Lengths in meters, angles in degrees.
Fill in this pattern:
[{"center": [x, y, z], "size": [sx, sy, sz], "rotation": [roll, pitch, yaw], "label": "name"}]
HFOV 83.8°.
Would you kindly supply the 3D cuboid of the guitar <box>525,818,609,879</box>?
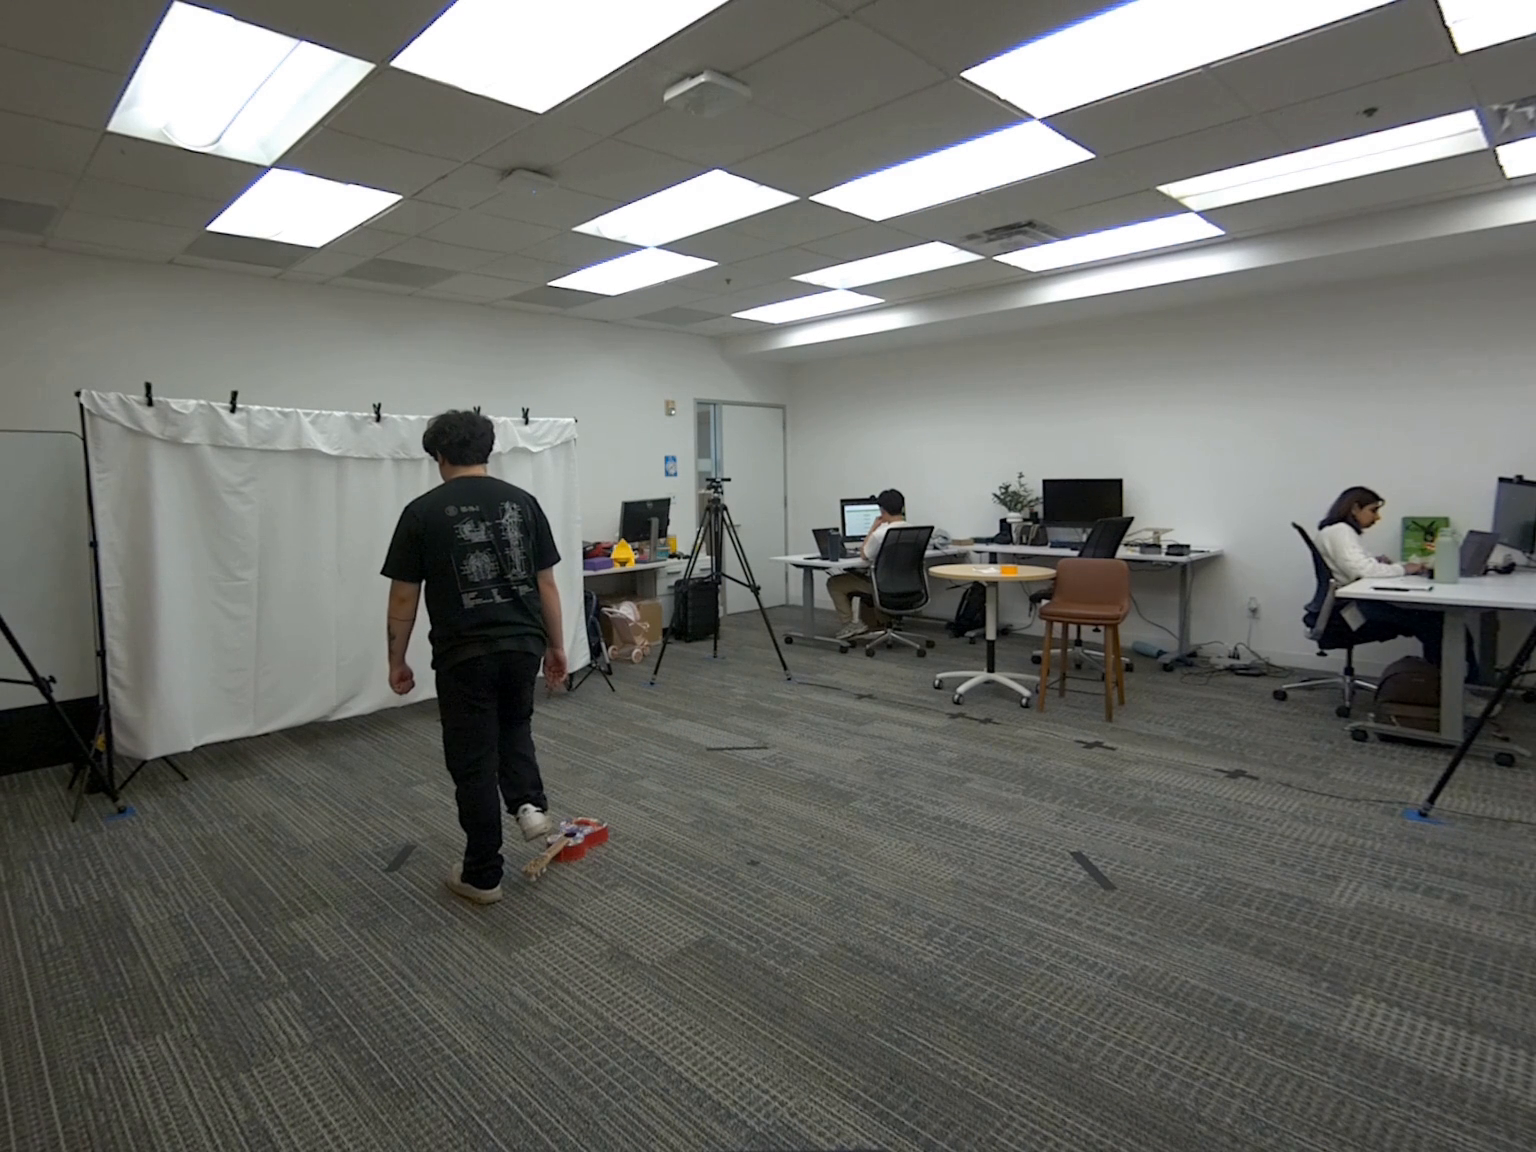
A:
[{"center": [-0.793, 1.015, 3.179], "size": [0.197, 0.070, 0.489], "rotation": [2, 7, 24], "label": "guitar"}]
